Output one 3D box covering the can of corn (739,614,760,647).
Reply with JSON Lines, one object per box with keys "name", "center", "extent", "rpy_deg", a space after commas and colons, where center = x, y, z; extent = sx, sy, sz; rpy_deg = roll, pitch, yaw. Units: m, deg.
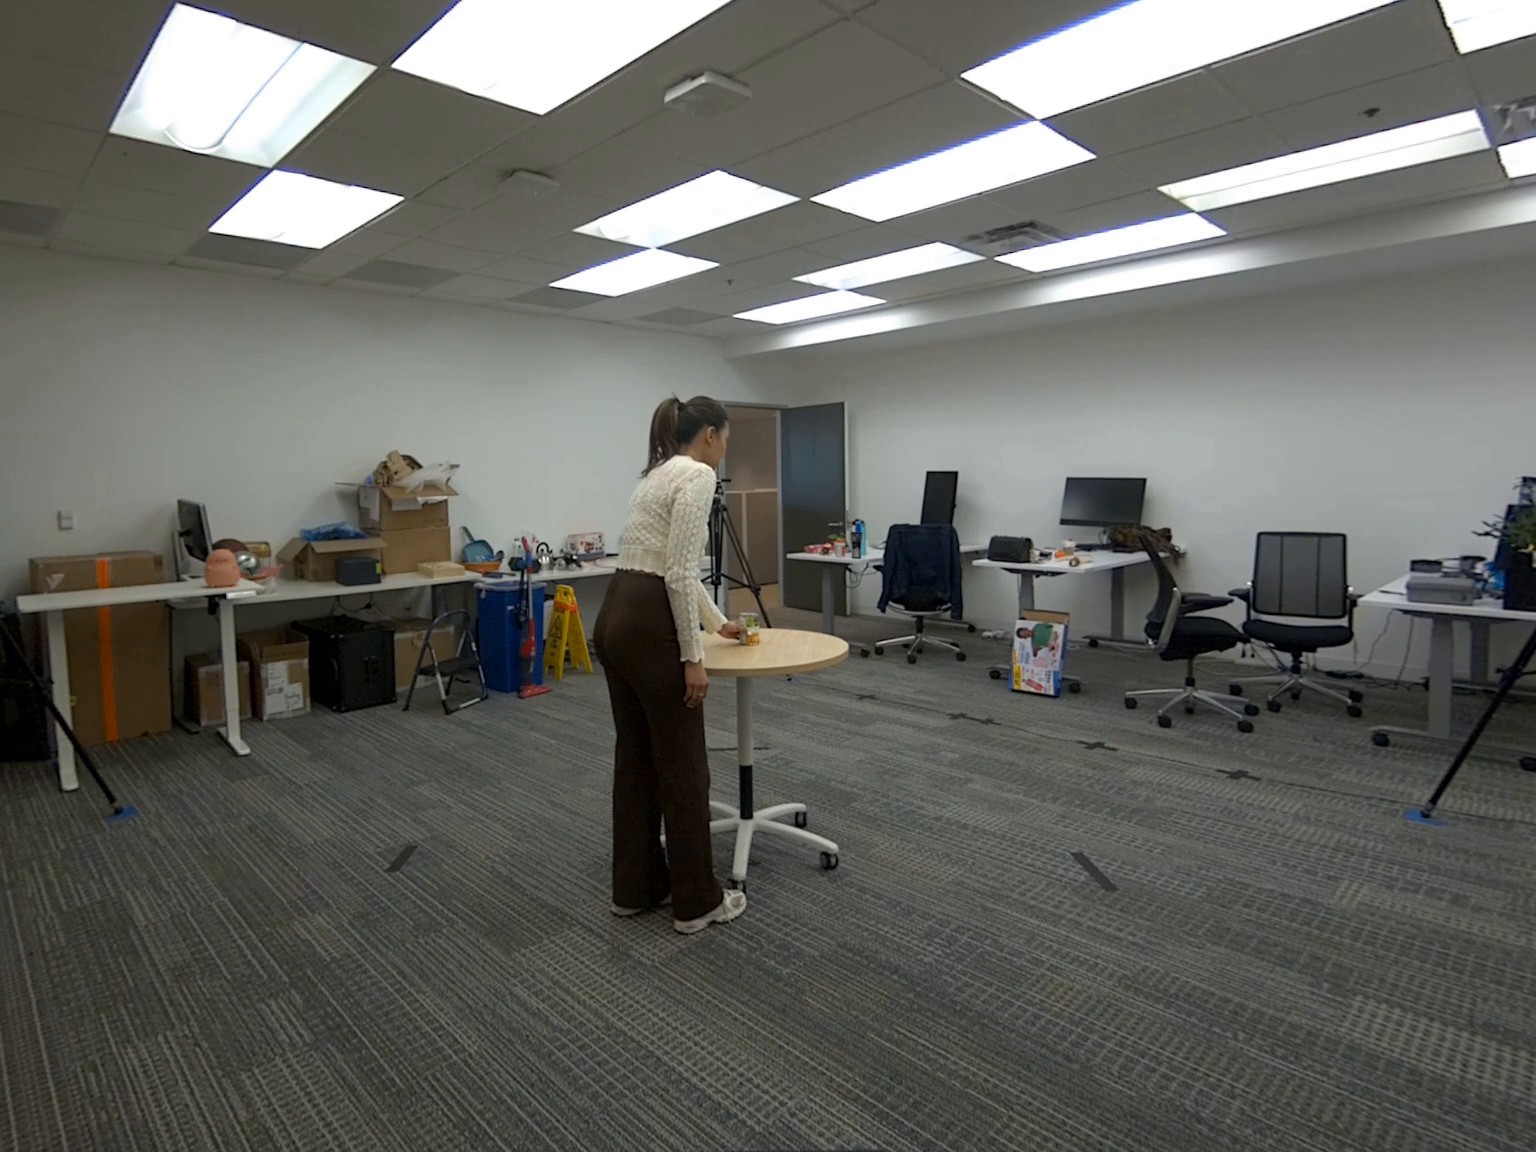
{"name": "can of corn", "center": [-0.066, 0.194, 3.167], "extent": [0.074, 0.110, 0.074], "rpy_deg": [-2, 5, -2]}
